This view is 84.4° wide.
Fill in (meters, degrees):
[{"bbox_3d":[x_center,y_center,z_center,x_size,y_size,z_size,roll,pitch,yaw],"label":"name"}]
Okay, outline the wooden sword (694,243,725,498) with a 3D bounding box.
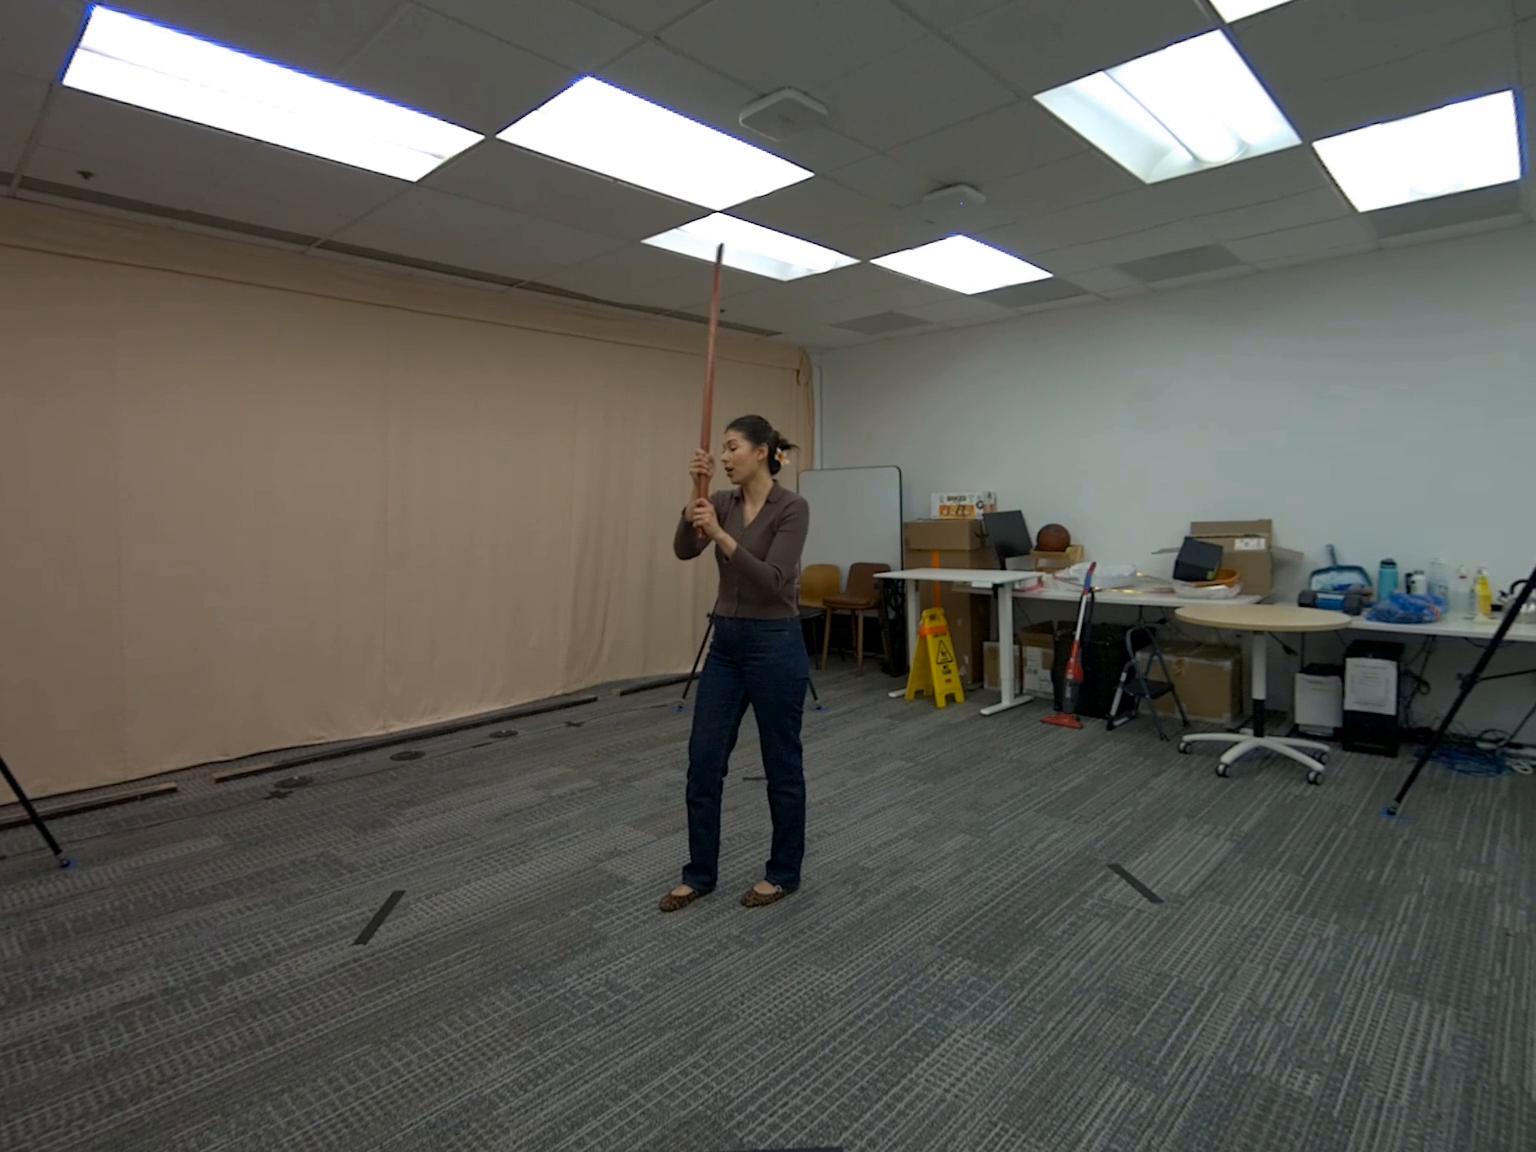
[{"bbox_3d":[-0.182,-0.604,2.711,0.050,1.032,0.024,6,-13,-12],"label":"wooden sword"}]
